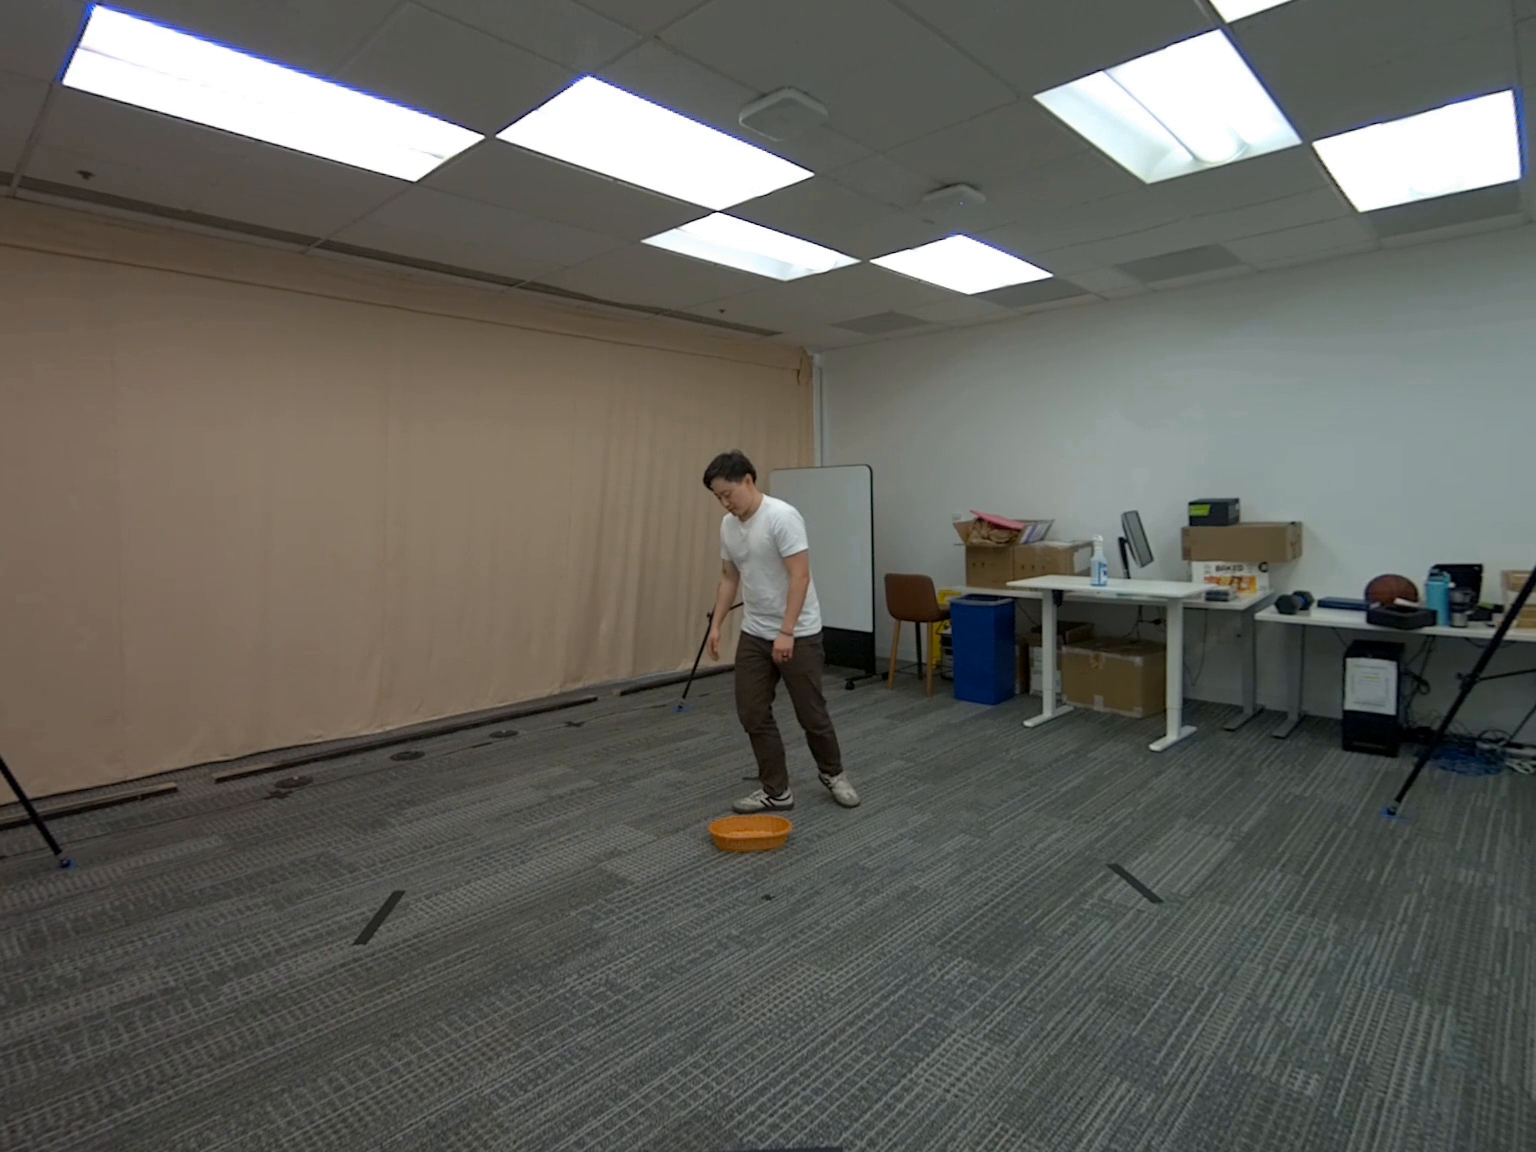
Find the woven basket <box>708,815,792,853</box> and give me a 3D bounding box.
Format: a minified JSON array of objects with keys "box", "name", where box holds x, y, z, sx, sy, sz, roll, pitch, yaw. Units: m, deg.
[{"box":[-0.074,1.059,3.471,0.348,0.073,0.254,-2,4,-5],"name":"woven basket"}]
